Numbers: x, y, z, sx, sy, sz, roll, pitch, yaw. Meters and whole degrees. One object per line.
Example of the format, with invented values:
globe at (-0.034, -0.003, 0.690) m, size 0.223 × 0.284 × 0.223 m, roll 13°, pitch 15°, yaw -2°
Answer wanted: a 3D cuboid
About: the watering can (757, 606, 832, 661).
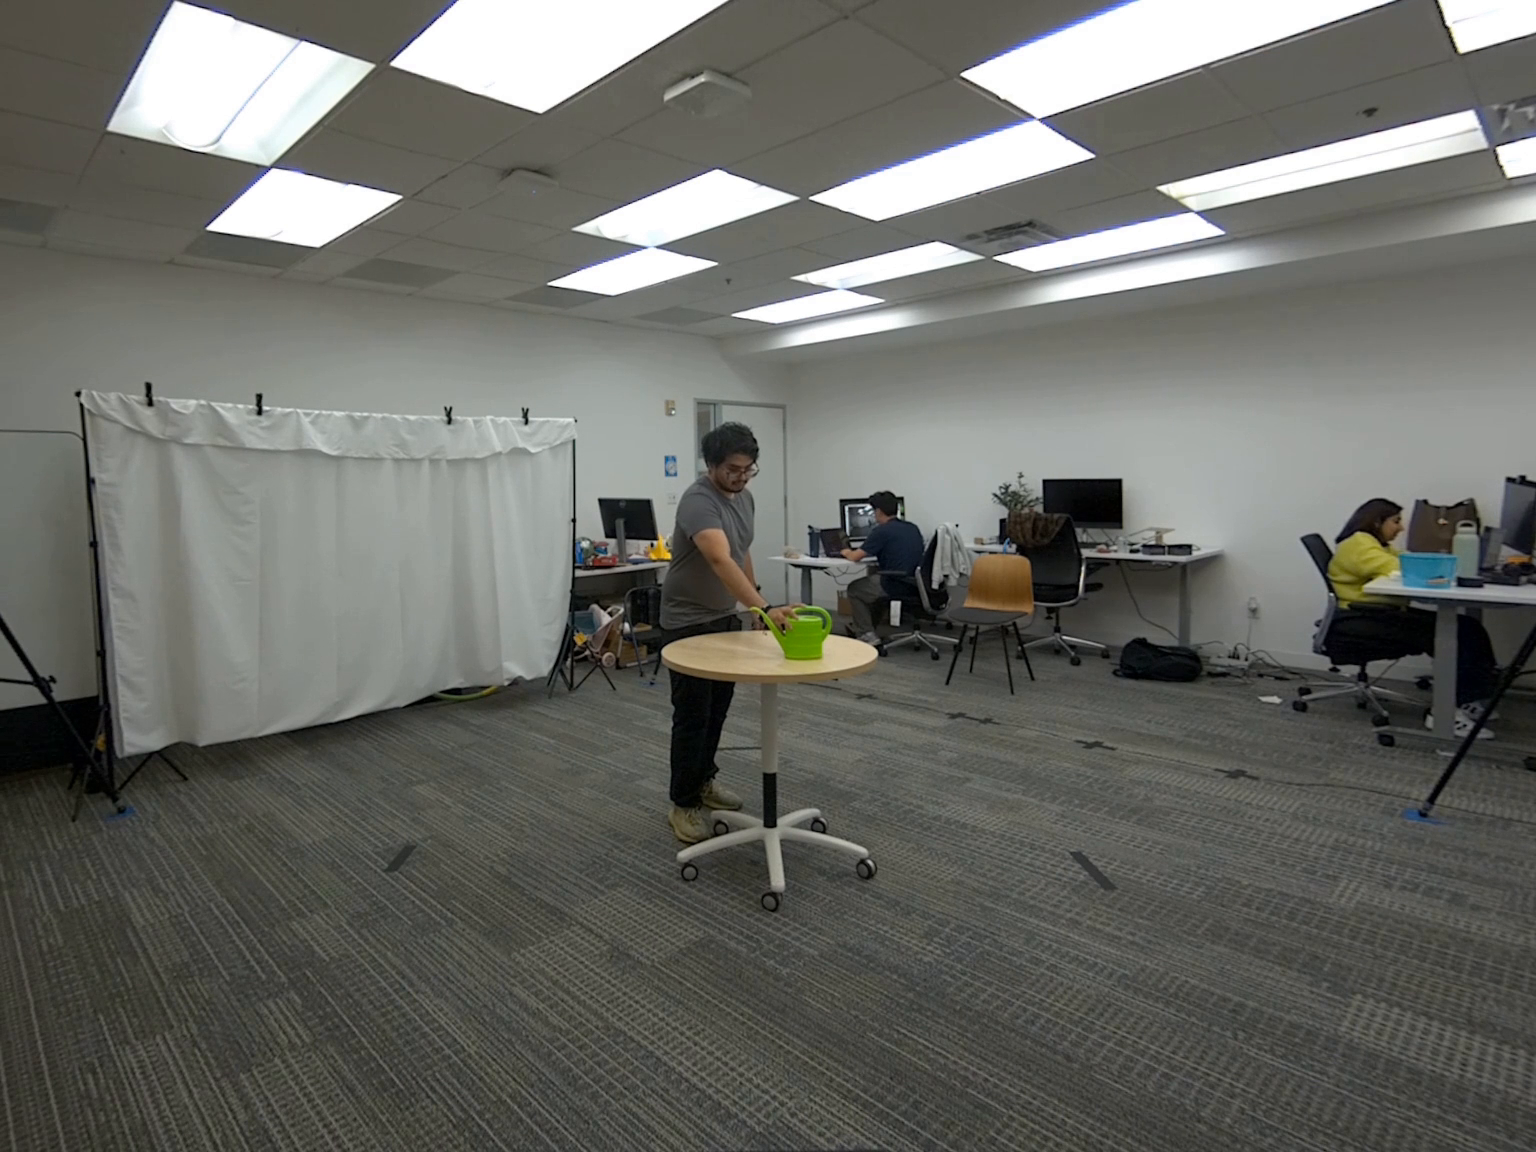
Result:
watering can at (0.087, 0.195, 2.921) m, size 0.279 × 0.176 × 0.098 m, roll 2°, pitch 6°, yaw 4°
